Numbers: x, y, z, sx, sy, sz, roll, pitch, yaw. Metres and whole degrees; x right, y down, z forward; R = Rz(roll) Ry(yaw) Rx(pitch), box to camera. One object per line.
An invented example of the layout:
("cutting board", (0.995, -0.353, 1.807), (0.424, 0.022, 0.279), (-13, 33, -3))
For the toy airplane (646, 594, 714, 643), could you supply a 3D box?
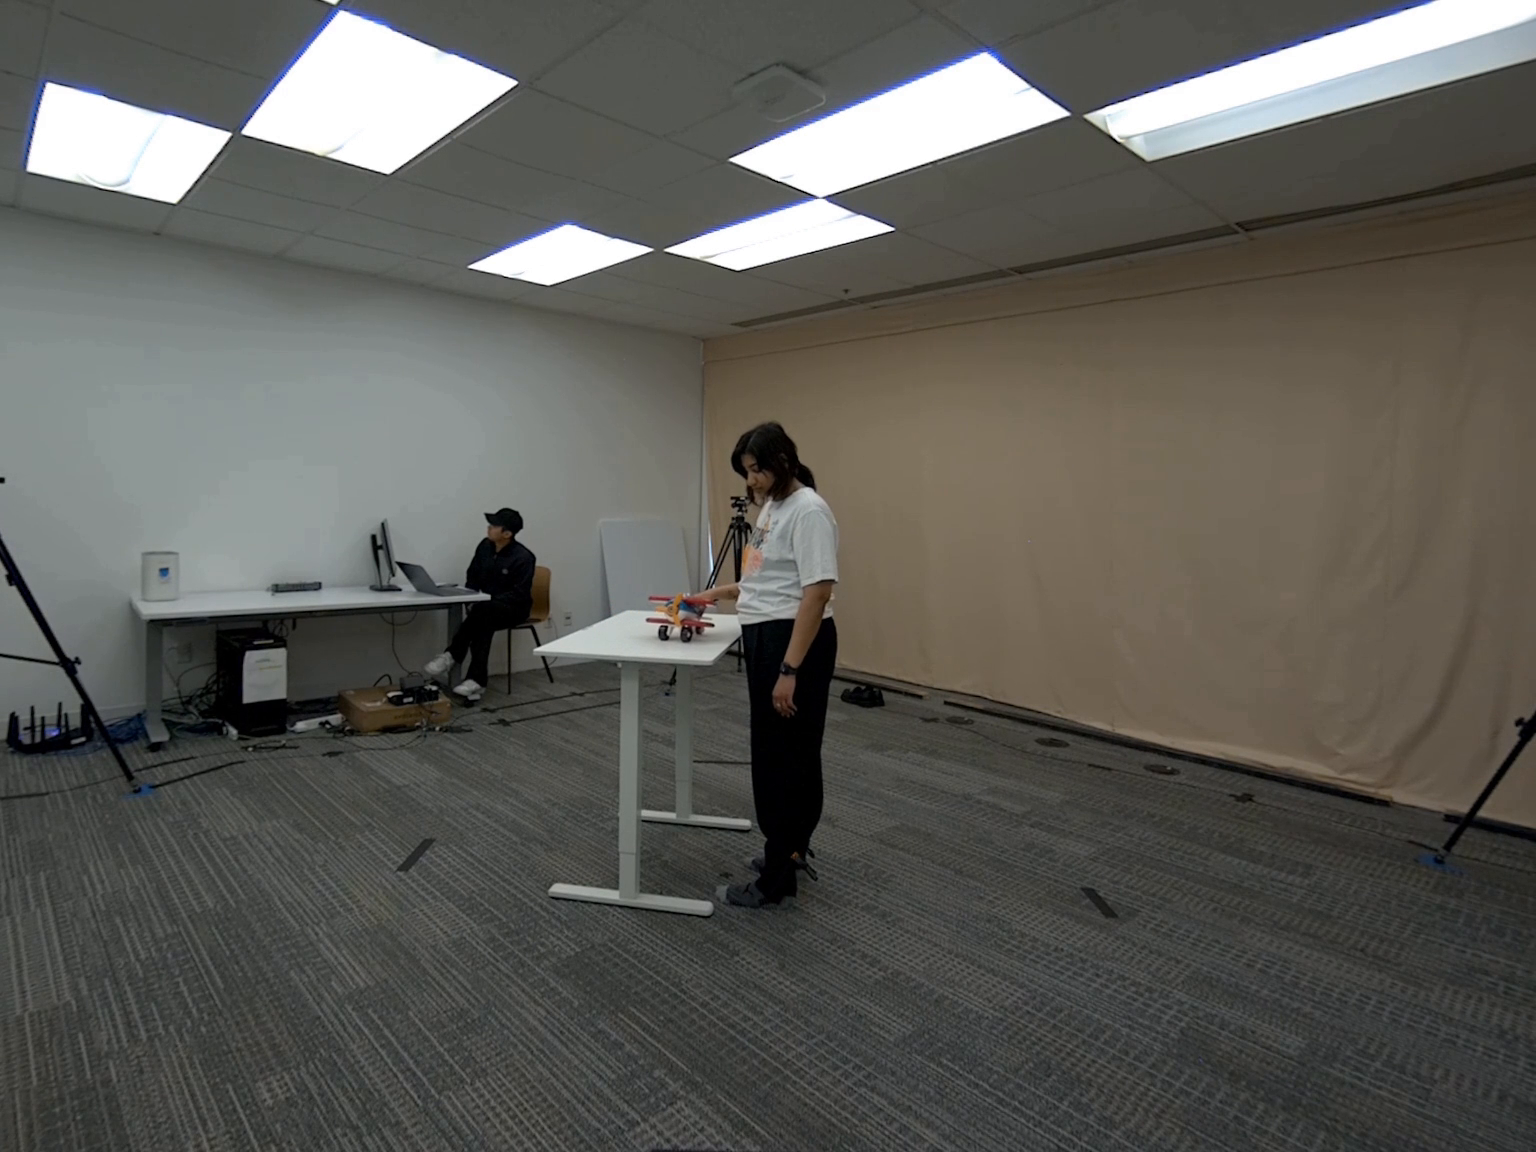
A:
("toy airplane", (-0.324, 0.144, 3.050), (0.249, 0.156, 0.262), (0, 6, -8))
